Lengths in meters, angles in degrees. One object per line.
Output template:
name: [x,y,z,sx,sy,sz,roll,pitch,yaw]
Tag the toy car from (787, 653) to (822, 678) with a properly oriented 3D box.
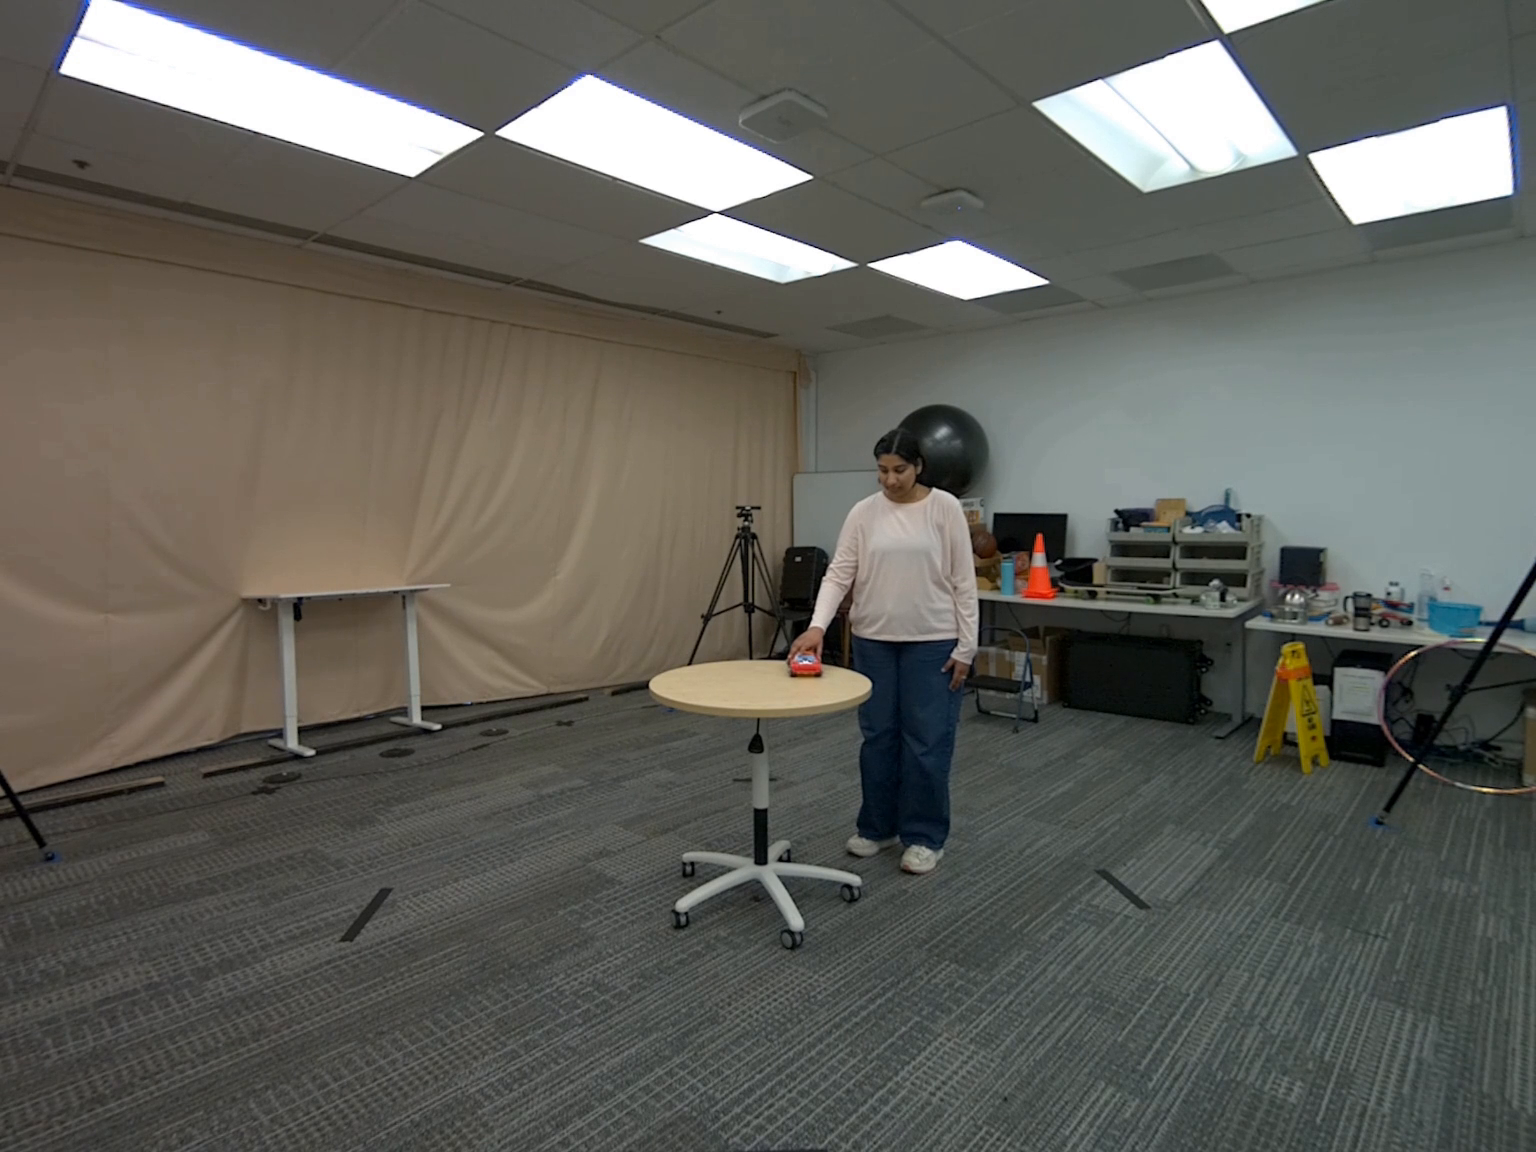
toy car: [0.133,0.316,3.076,0.130,0.082,0.257,0,16,-2]
